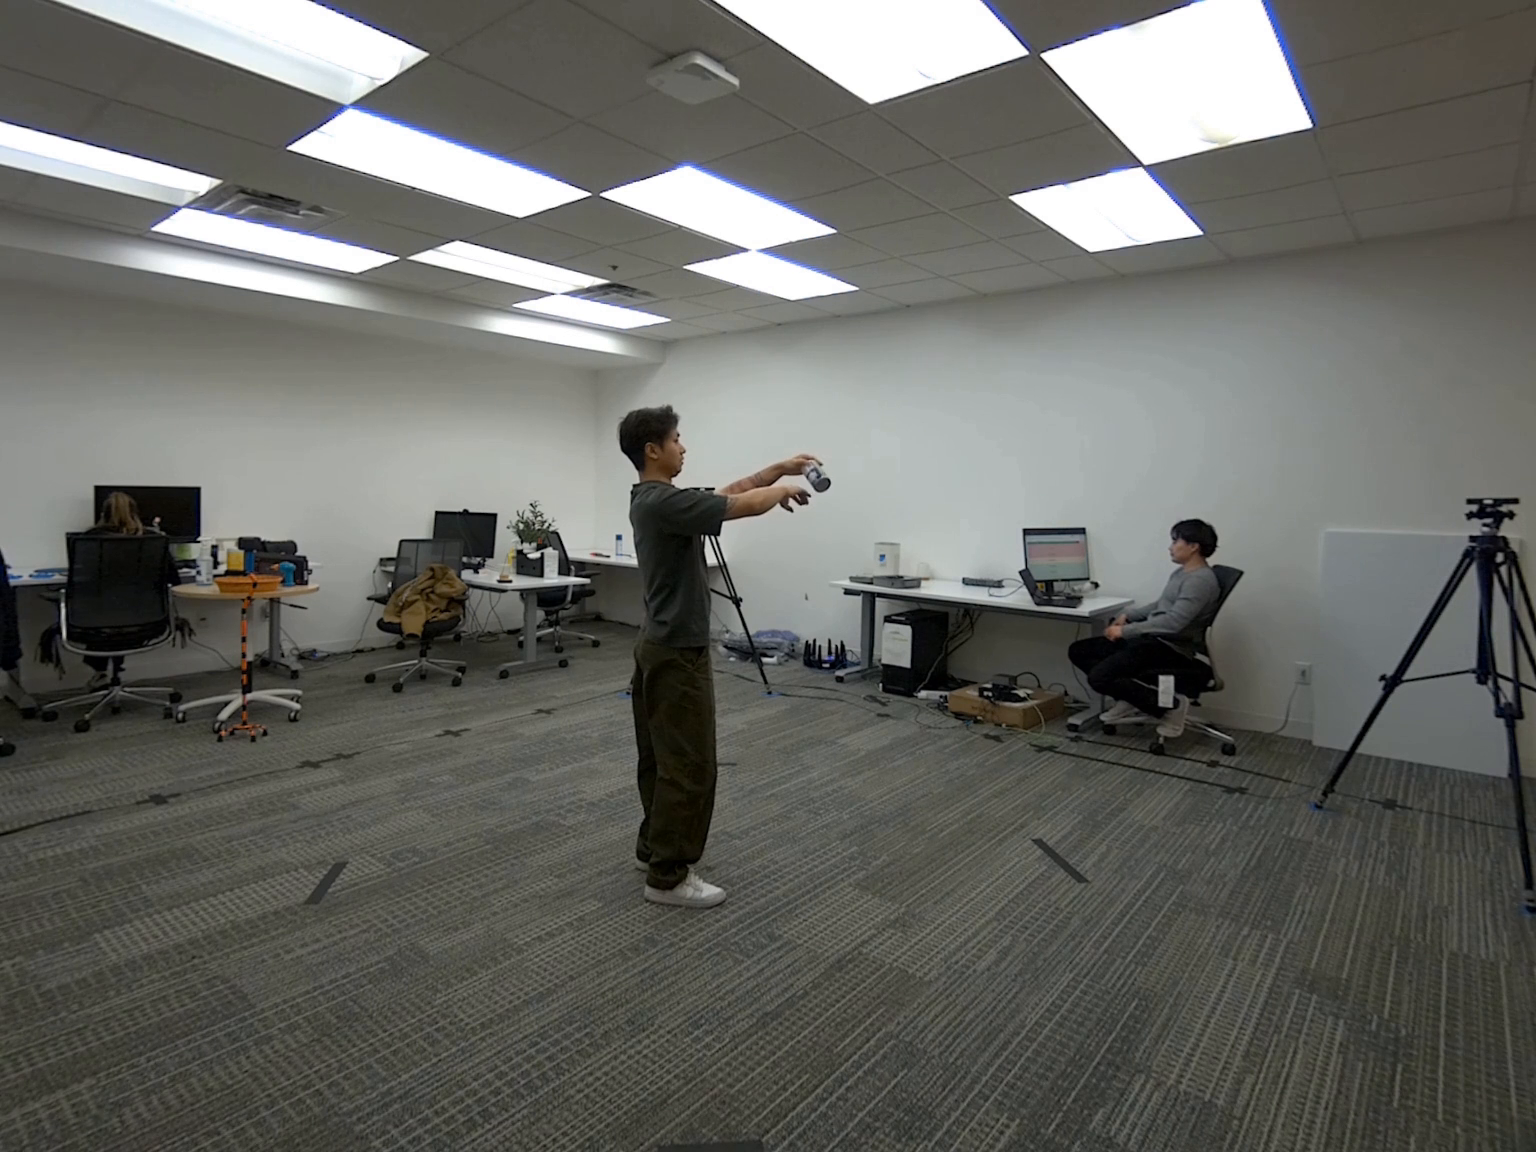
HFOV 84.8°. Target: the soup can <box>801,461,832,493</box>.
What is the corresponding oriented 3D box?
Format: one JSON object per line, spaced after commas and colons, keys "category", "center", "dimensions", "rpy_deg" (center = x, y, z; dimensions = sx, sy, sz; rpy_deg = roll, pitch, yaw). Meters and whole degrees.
{"category": "soup can", "center": [0.166, -0.359, 3.056], "dimensions": [0.065, 0.066, 0.126], "rpy_deg": [-1, 42, -24]}
